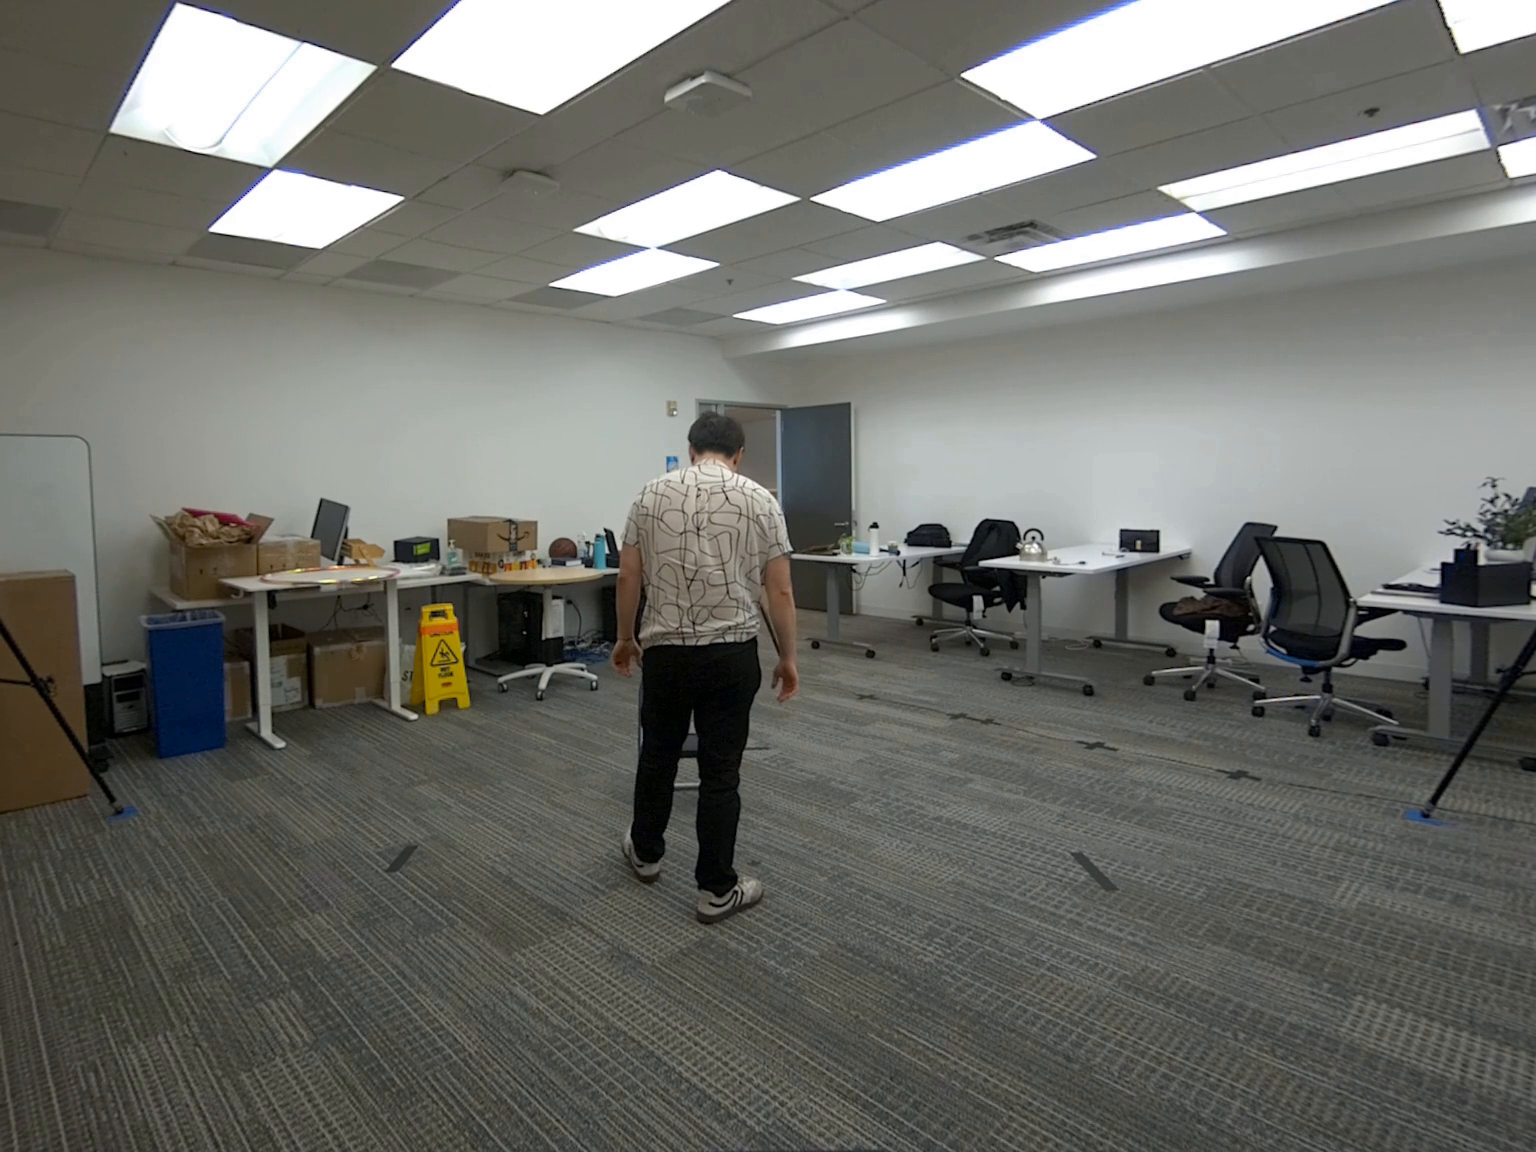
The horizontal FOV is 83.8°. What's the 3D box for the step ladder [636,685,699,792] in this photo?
[{"bbox_3d":[-0.352,0.682,3.698,0.430,0.604,0.351,-1,4,-3],"label":"step ladder"}]
